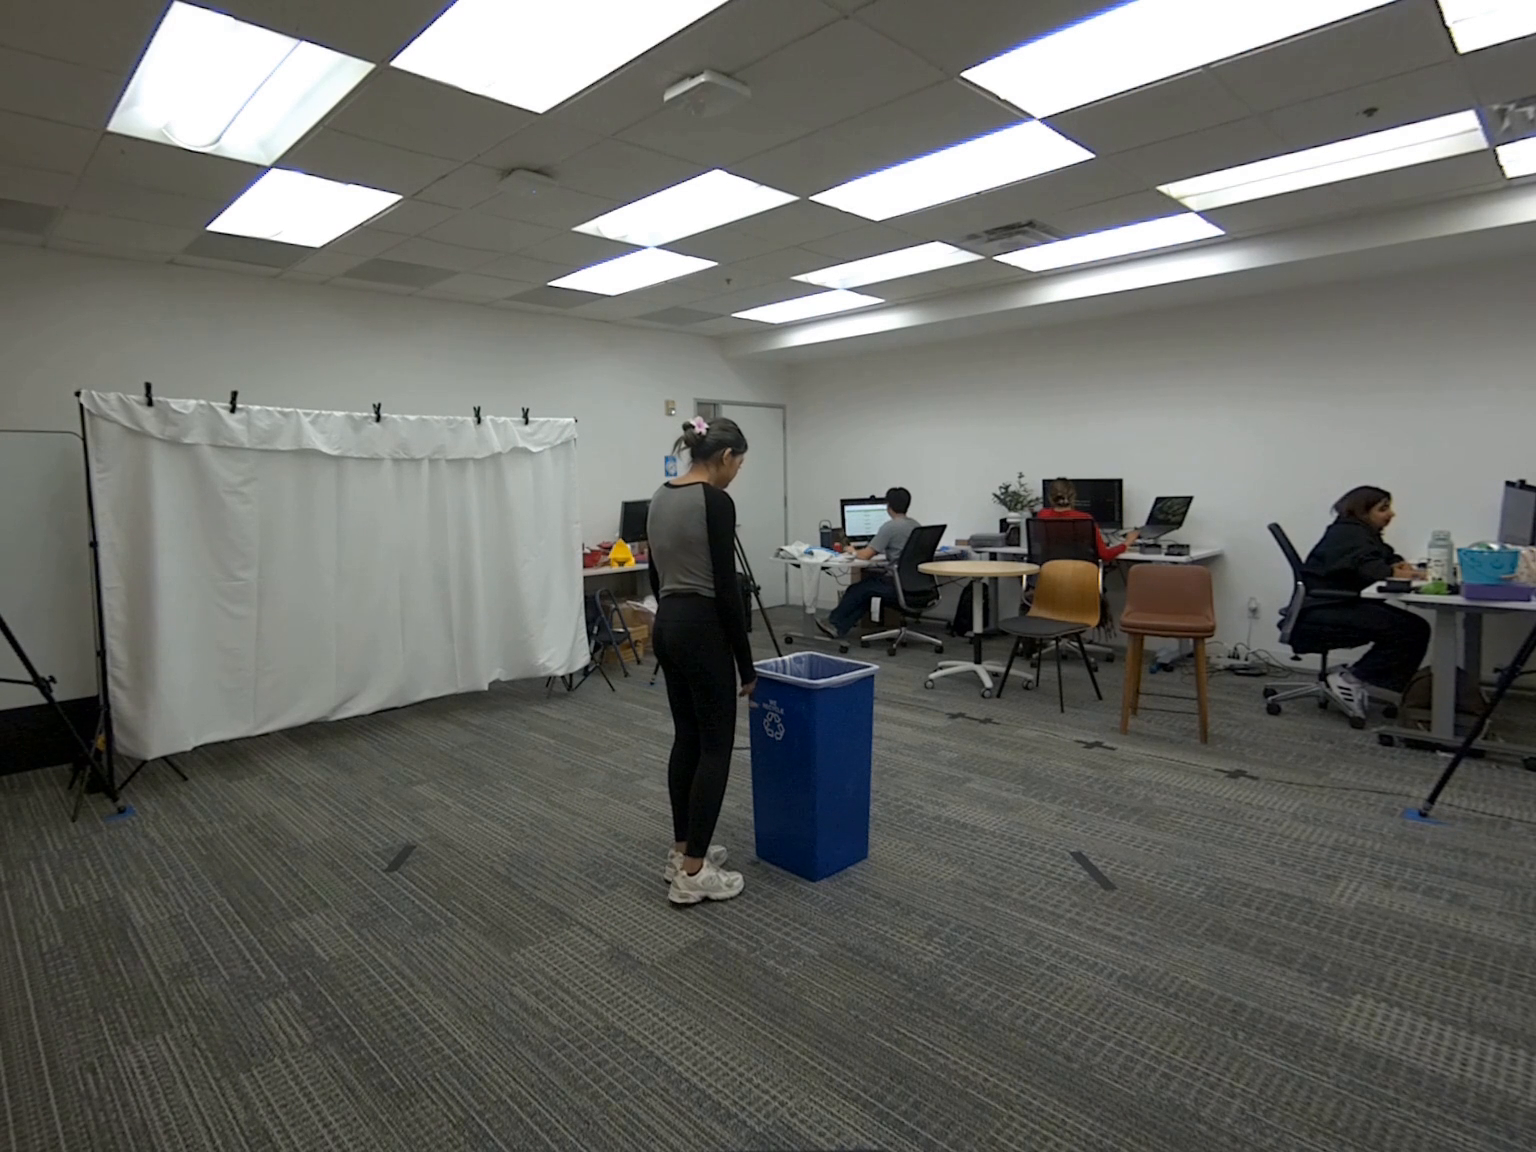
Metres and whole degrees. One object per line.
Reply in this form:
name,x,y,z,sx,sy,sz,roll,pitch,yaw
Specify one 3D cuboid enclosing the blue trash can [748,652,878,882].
blue trash can,0.169,0.678,3.127,0.368,0.711,0.385,-5,5,-43
